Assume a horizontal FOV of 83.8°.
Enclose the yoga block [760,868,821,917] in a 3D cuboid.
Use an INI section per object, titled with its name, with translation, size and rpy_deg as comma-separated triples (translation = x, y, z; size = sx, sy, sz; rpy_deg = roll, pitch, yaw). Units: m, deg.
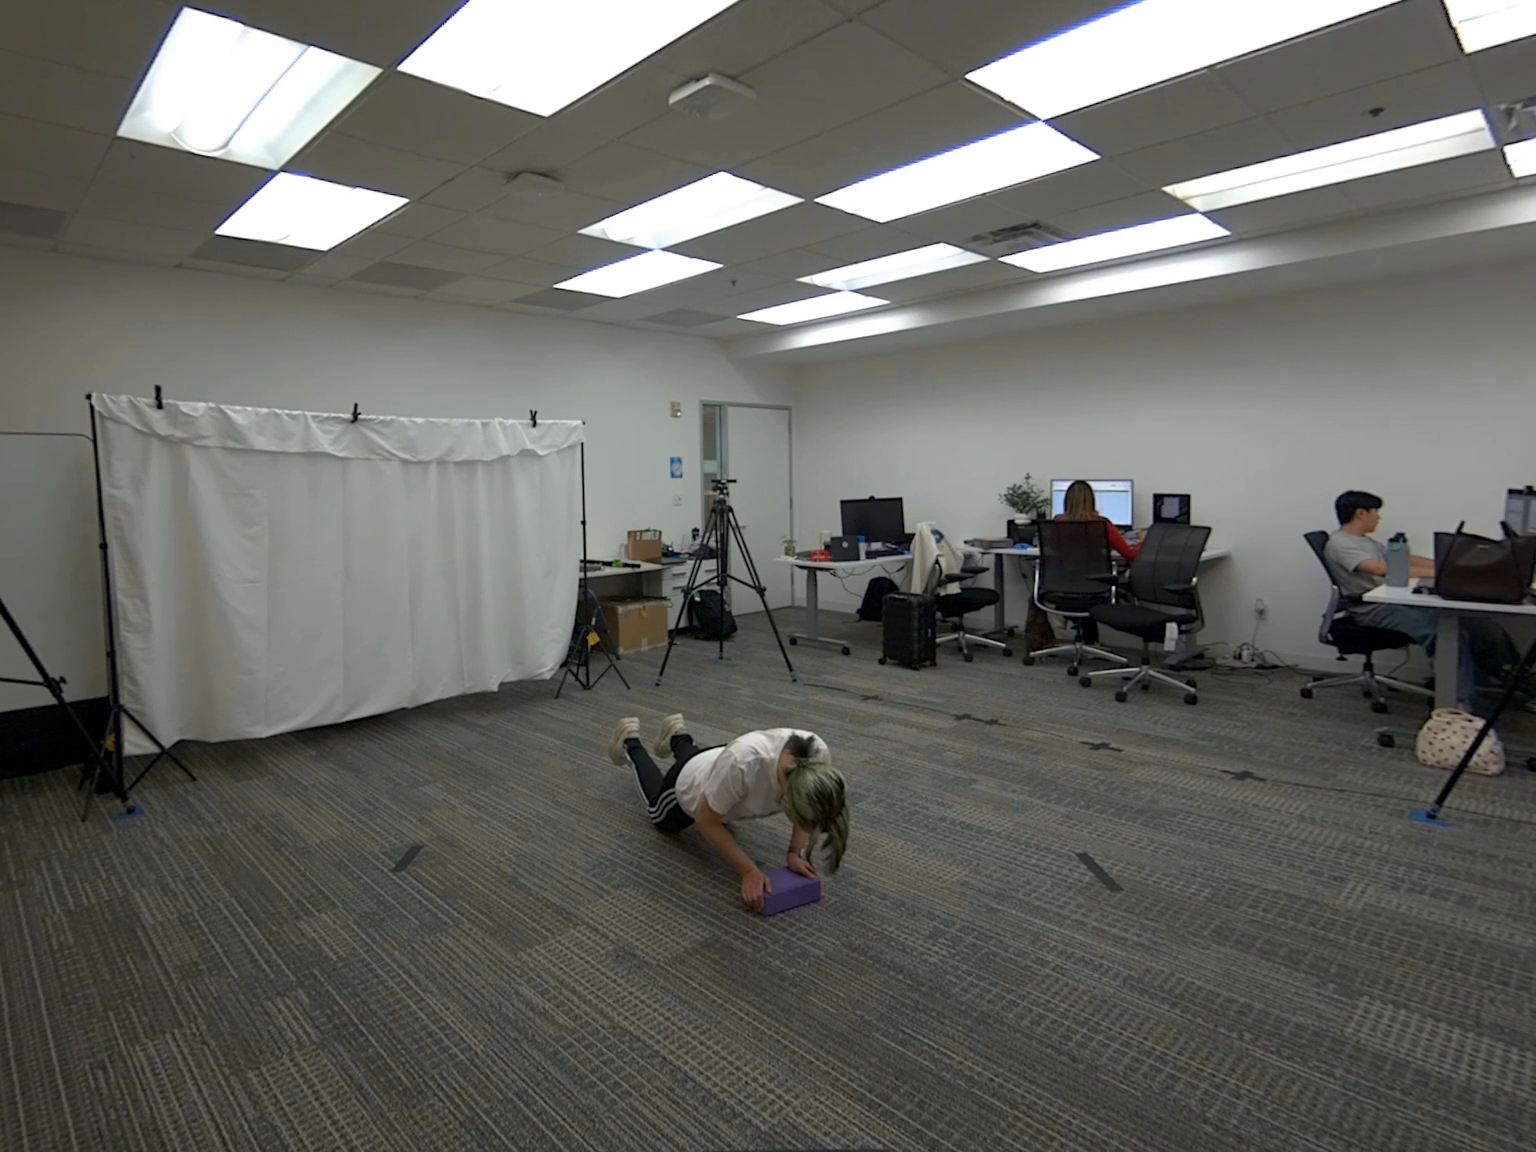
[yoga block]
translation = 0.045, 1.041, 2.837
size = 0.224, 0.076, 0.153
rpy_deg = -4, 7, -31
